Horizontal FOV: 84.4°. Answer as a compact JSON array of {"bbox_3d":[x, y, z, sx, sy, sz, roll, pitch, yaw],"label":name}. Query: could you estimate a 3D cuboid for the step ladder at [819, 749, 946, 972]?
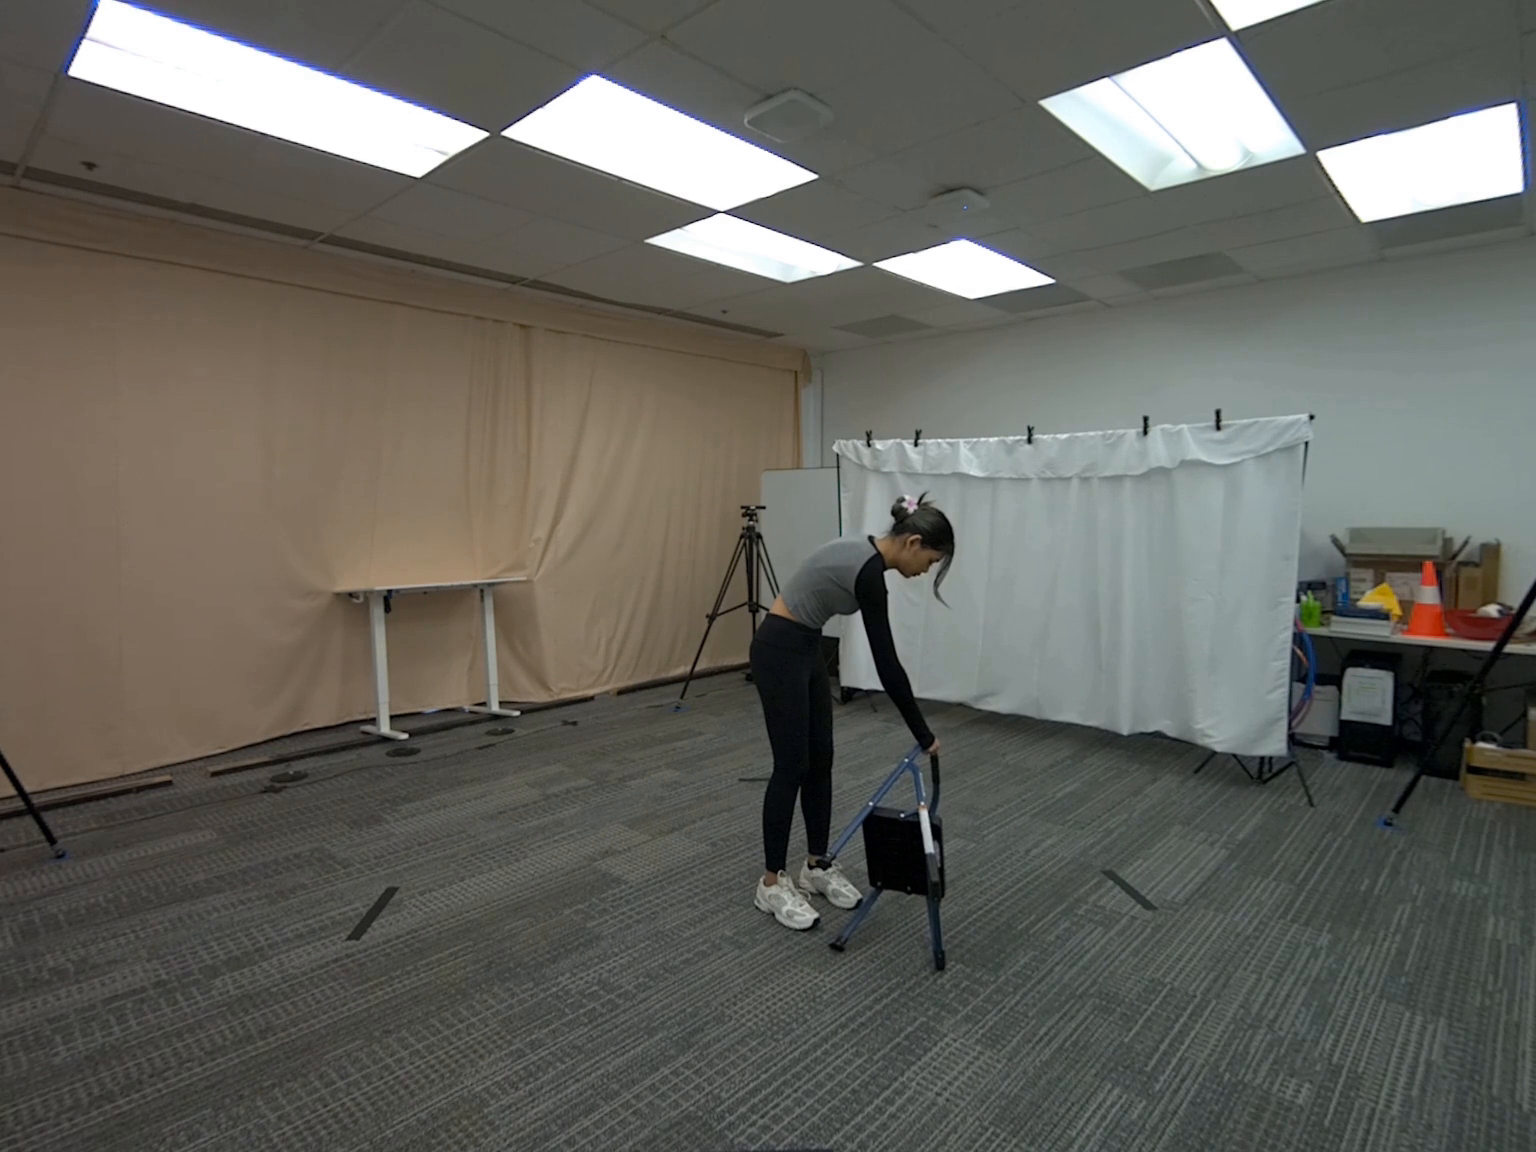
[{"bbox_3d":[0.425,0.834,2.696,0.357,0.421,0.606,3,34,19],"label":"step ladder"}]
